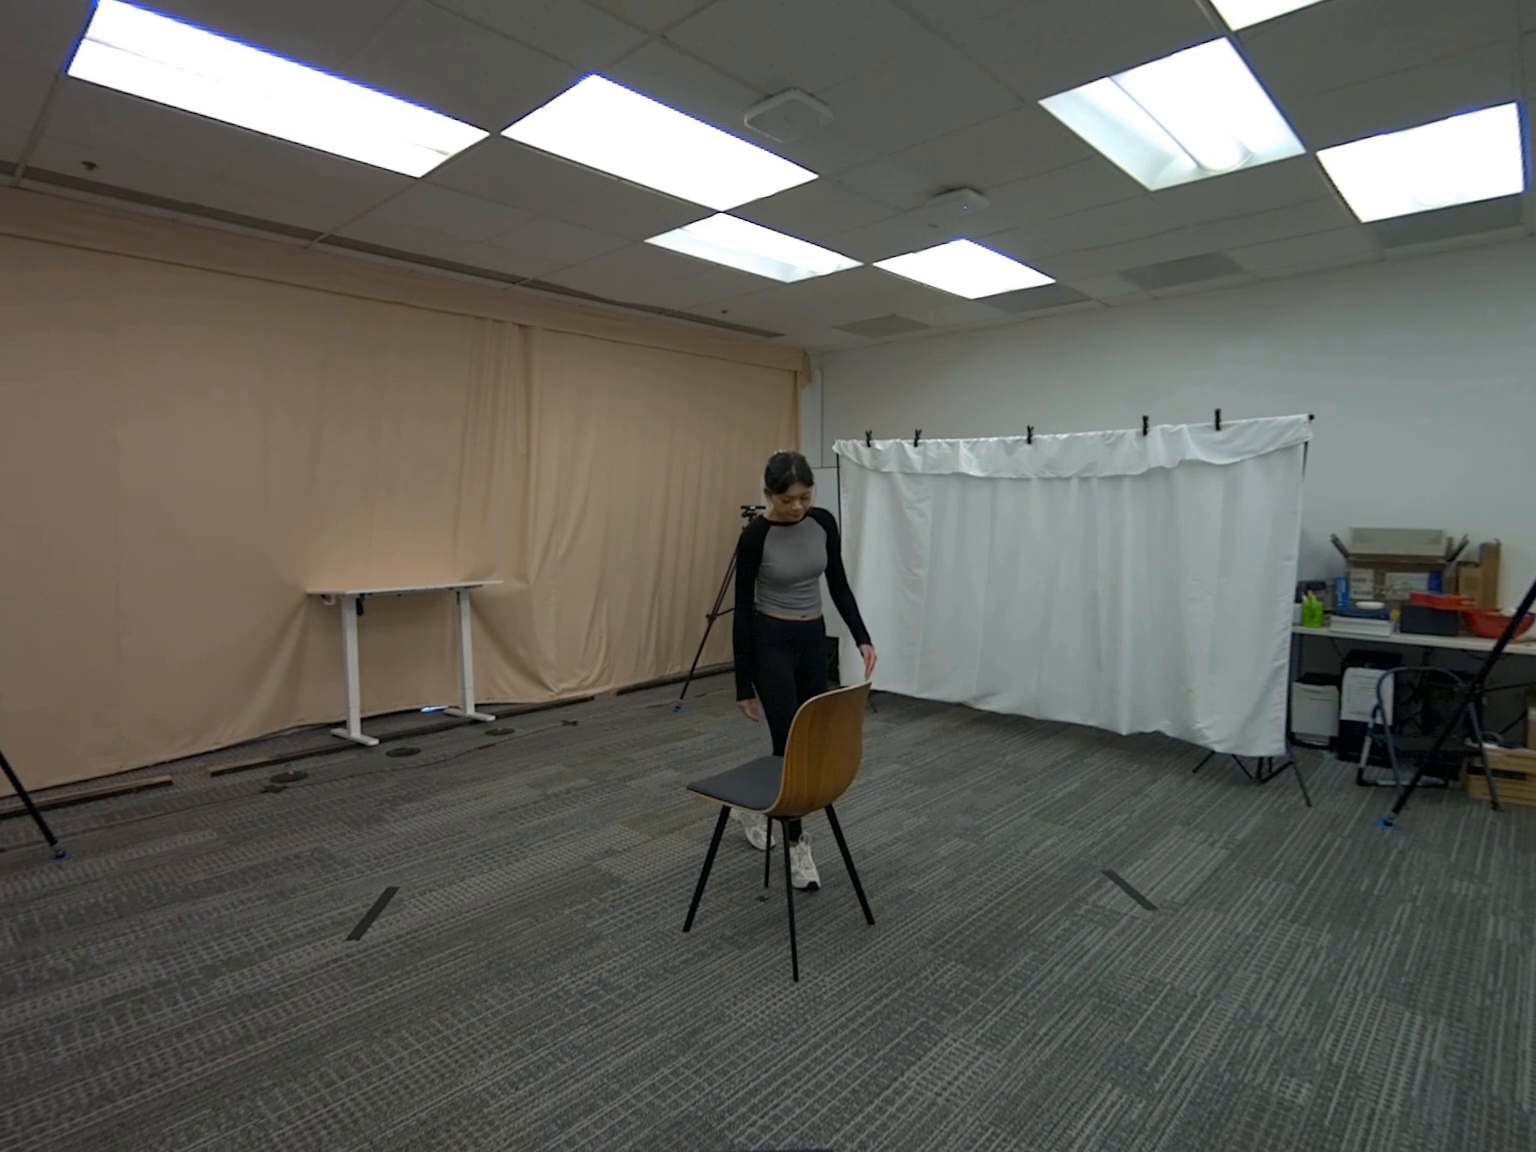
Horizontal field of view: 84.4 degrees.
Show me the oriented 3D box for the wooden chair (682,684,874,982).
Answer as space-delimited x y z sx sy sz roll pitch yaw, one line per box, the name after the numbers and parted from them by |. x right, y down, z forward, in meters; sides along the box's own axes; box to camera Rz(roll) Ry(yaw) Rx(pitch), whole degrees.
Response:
0.034 0.733 2.750 0.541 0.874 0.464 8 8 38 | wooden chair
